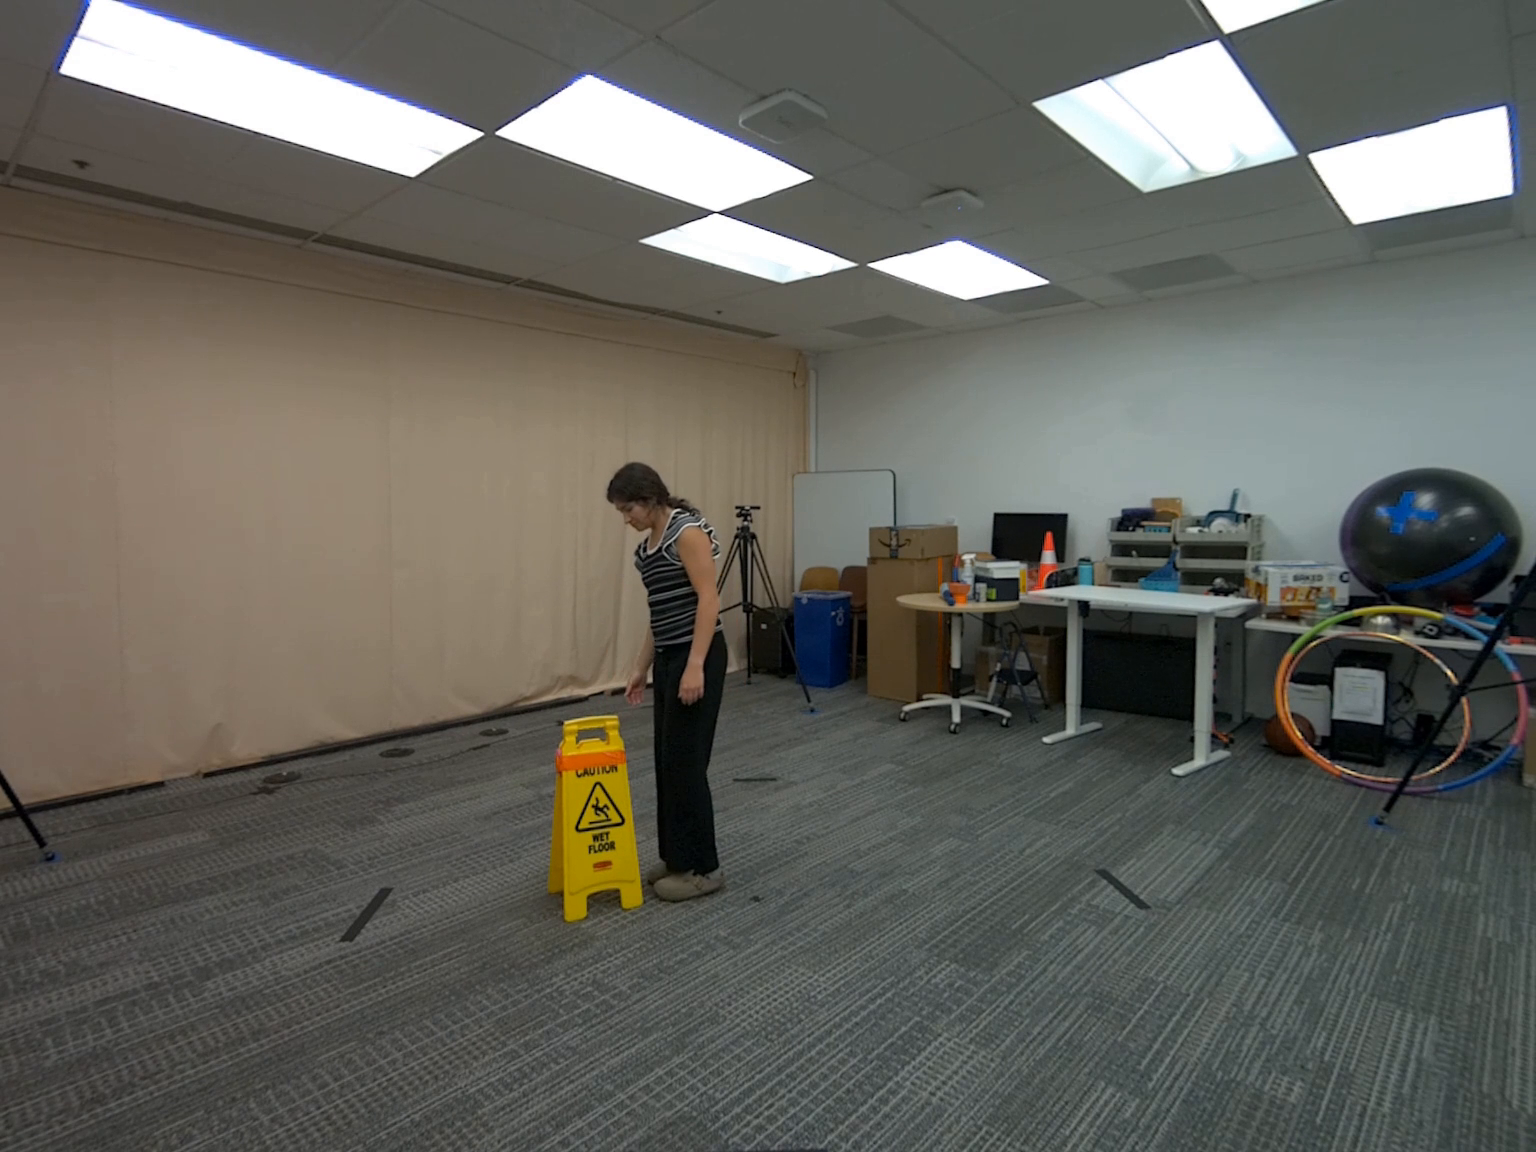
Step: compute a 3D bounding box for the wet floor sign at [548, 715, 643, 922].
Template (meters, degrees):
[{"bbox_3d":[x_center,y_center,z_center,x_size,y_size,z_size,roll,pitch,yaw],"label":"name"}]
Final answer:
[{"bbox_3d":[-0.622,0.826,2.978,0.276,0.645,0.297,-2,3,-25],"label":"wet floor sign"}]
